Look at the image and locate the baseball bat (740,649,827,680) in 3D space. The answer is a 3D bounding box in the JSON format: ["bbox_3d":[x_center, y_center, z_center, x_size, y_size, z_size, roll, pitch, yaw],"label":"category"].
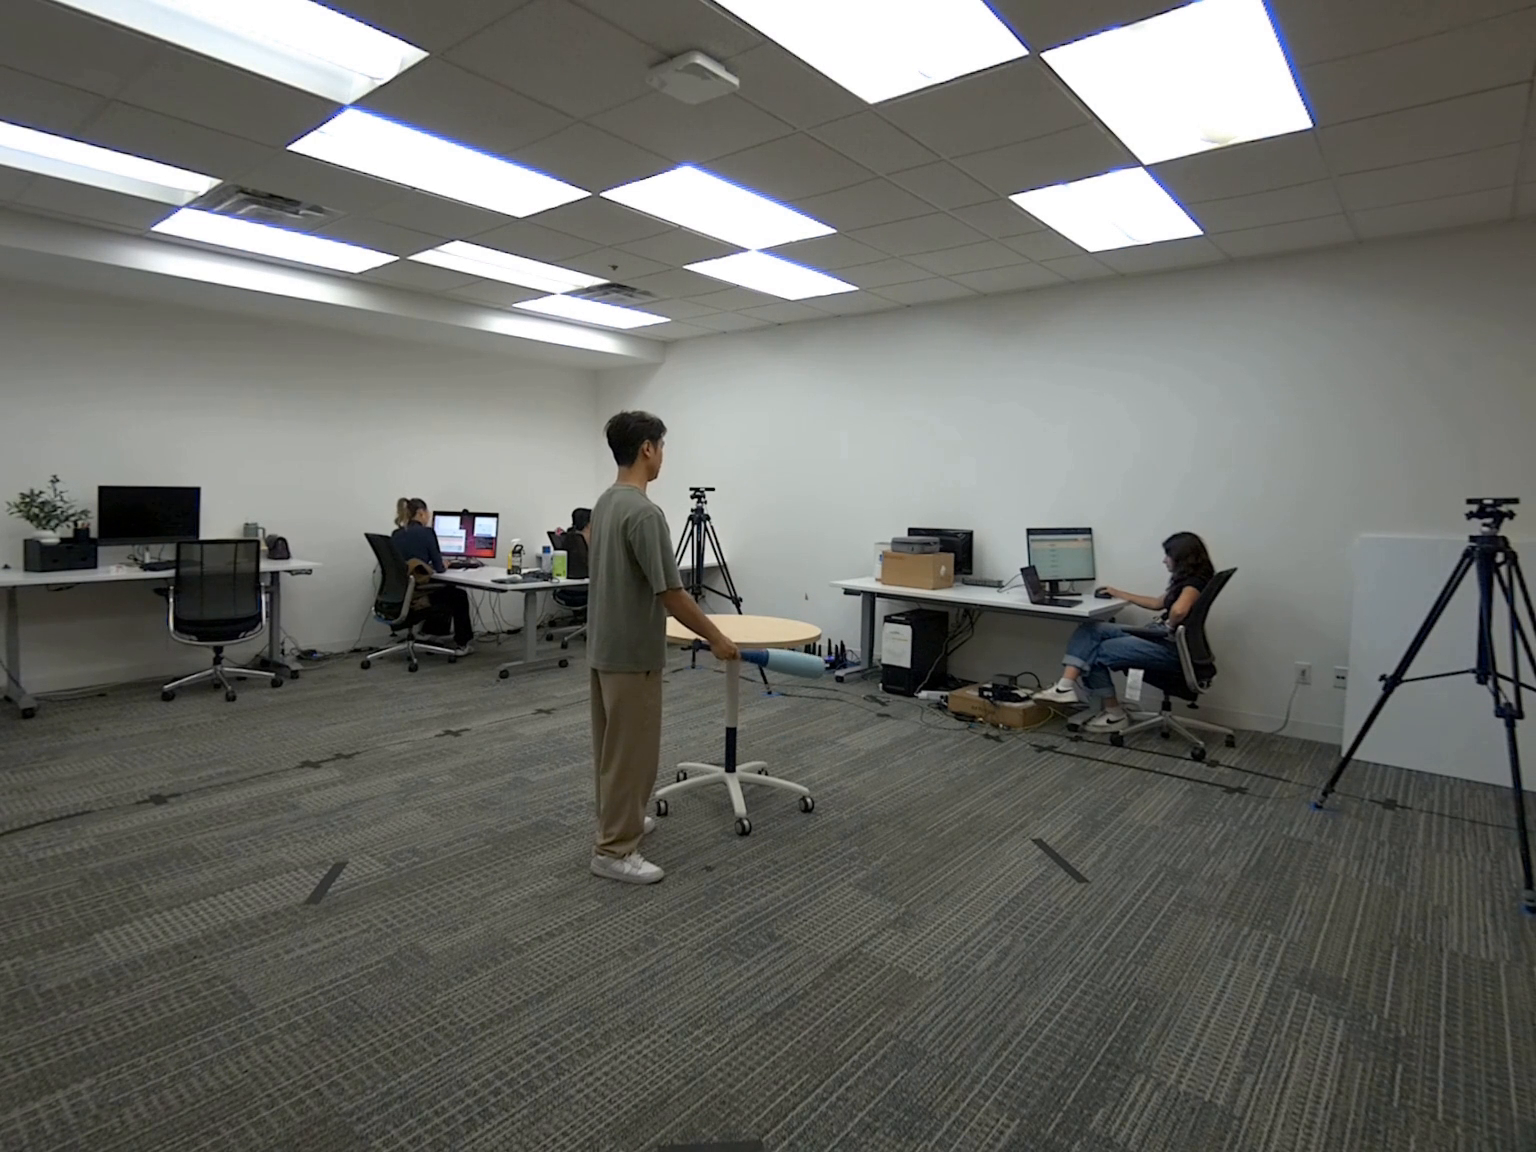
[{"bbox_3d":[-0.044,0.301,3.123,0.529,0.089,0.091,12,-1,-21],"label":"baseball bat"}]
